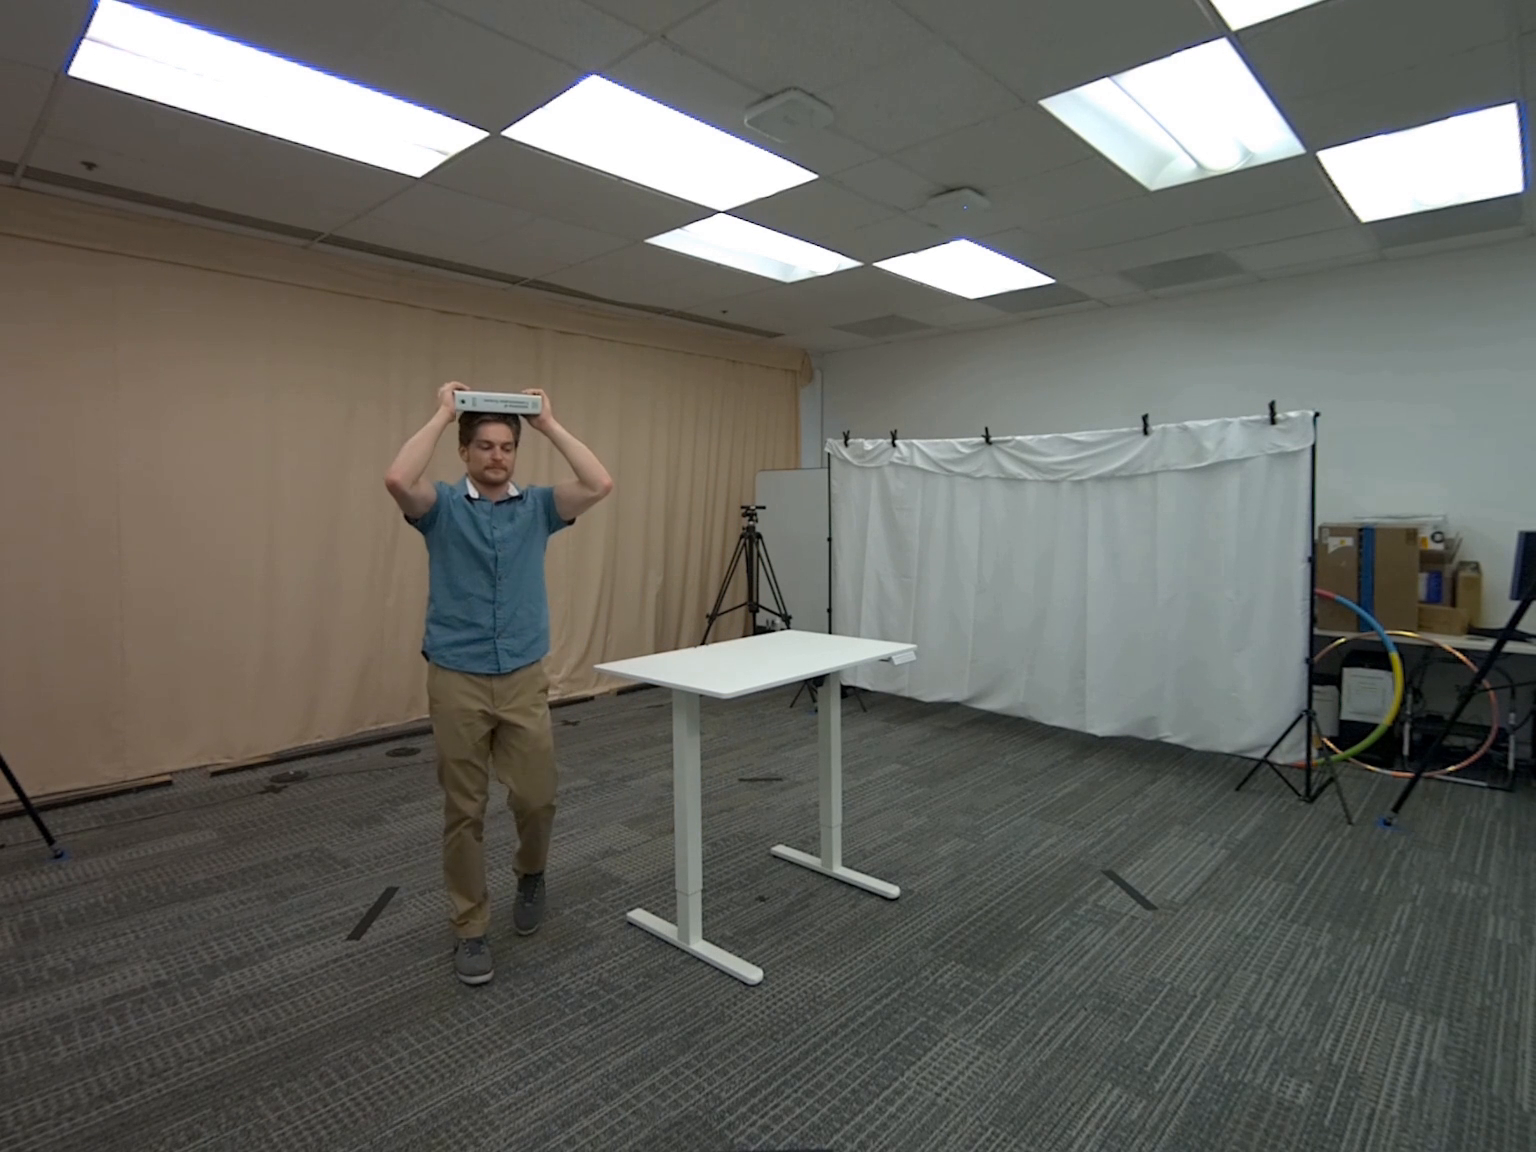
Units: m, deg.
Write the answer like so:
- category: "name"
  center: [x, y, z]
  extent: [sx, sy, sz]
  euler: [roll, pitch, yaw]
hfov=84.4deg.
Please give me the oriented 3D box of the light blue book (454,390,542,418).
- category: "light blue book"
  center: [-0.857, -0.536, 2.594]
  extent: [0.255, 0.058, 0.197]
  euler: [-2, 13, -22]
